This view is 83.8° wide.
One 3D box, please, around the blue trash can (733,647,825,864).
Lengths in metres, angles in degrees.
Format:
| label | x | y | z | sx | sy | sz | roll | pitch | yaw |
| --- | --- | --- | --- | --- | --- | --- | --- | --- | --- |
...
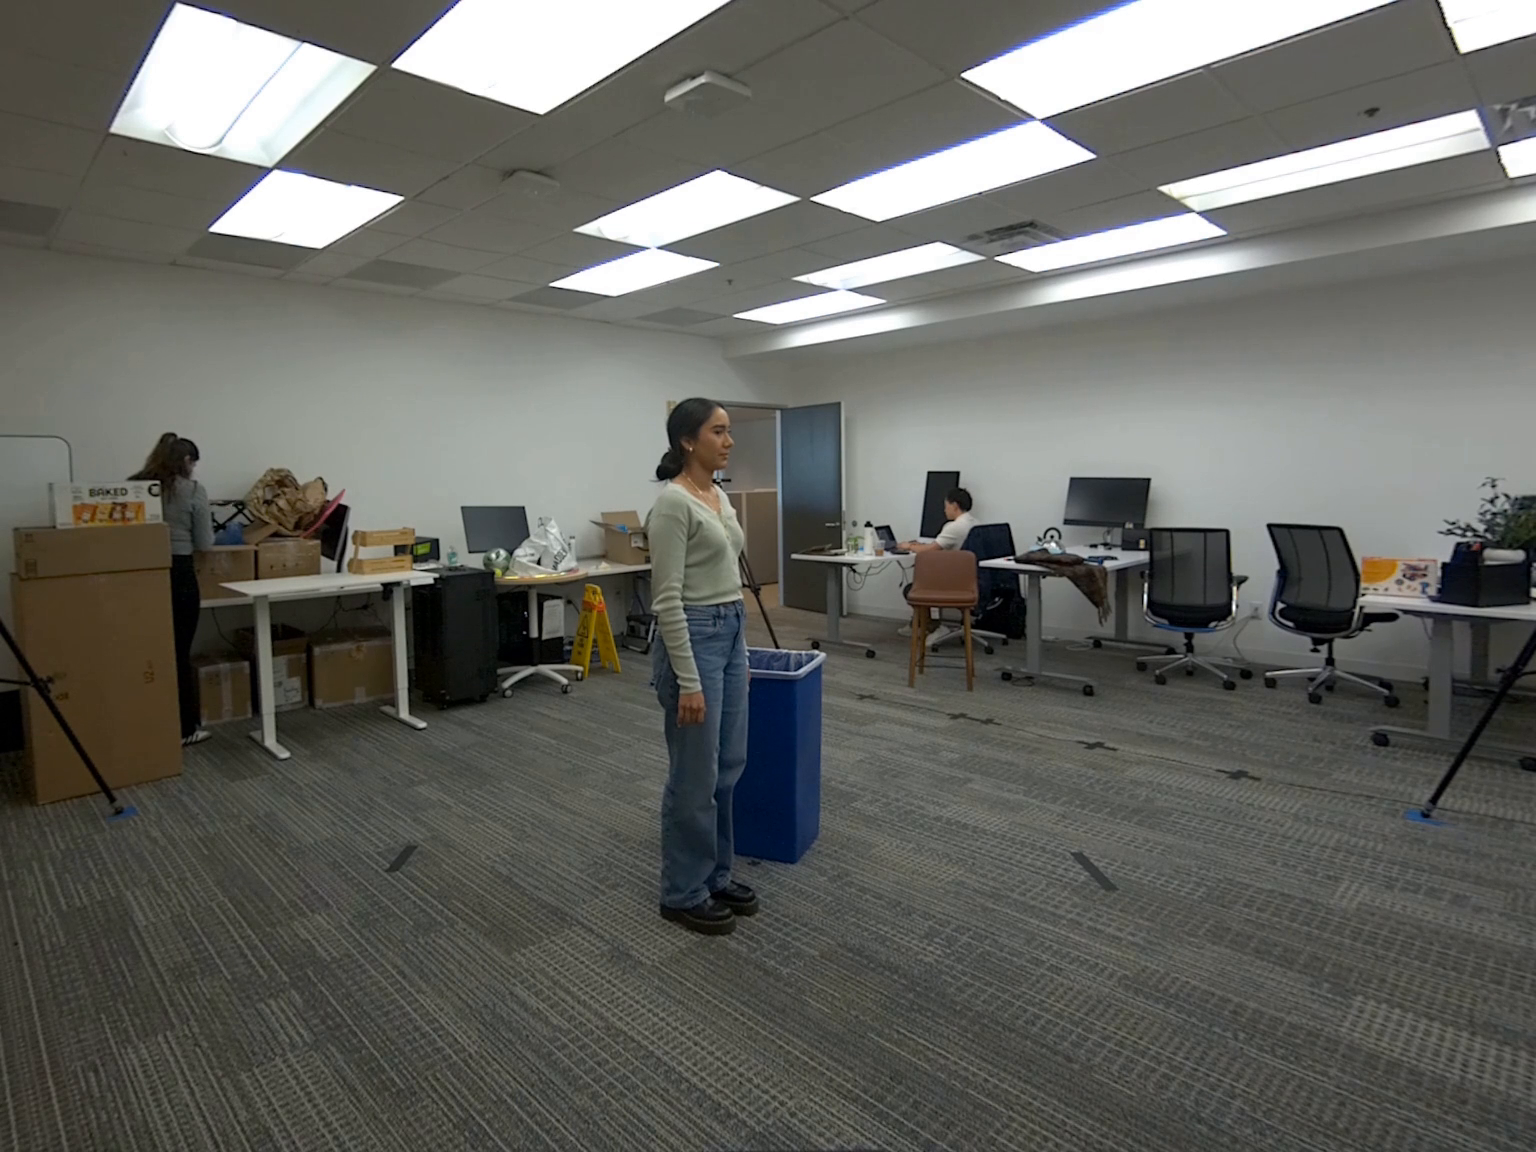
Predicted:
| label | x | y | z | sx | sy | sz | roll | pitch | yaw |
| --- | --- | --- | --- | --- | --- | --- | --- | --- | --- |
| blue trash can | 0.007 | 0.669 | 3.251 | 0.386 | 0.711 | 0.368 | 1 | 4 | 22 |
